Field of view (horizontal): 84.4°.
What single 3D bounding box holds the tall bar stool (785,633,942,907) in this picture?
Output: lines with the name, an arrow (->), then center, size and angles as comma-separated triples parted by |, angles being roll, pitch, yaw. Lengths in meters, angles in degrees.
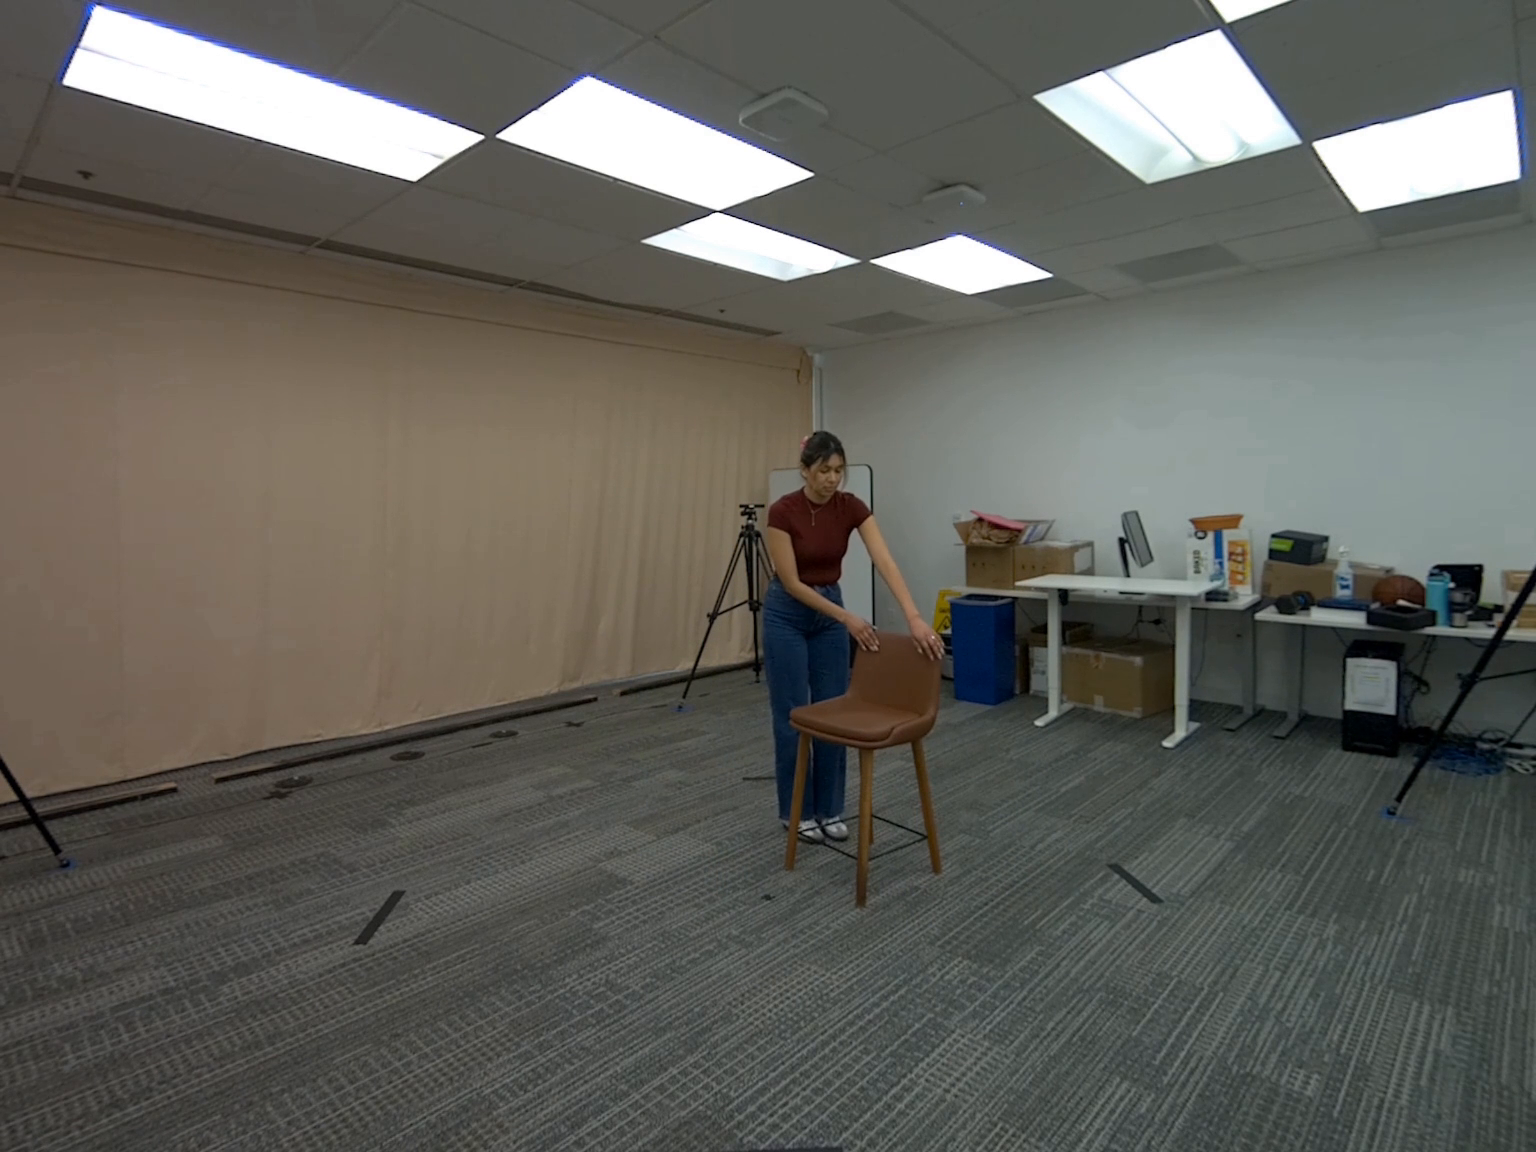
tall bar stool -> 0.373, 0.681, 3.161 | 0.453, 0.889, 0.471 | -1, 3, -38
